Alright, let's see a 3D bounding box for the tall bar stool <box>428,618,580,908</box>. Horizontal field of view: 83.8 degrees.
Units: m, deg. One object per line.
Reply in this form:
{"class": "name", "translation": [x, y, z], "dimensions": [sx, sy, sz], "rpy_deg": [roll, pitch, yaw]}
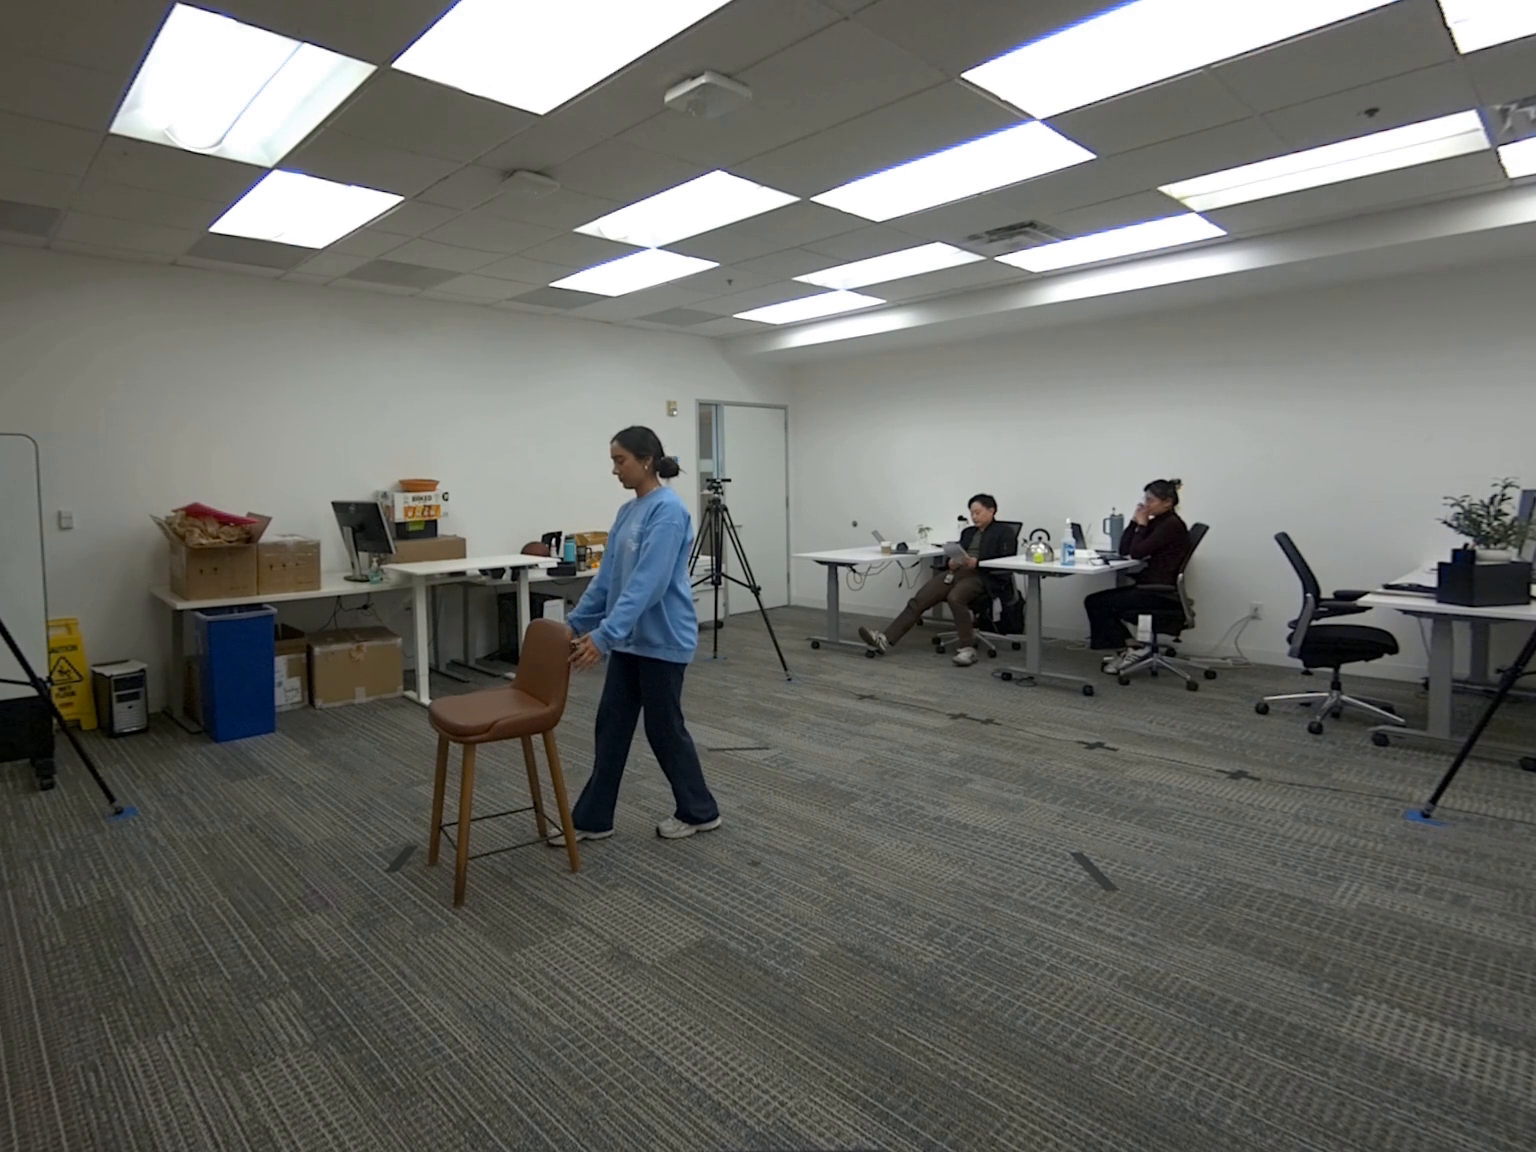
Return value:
{"class": "tall bar stool", "translation": [-0.957, 0.624, 3.080], "dimensions": [0.456, 0.888, 0.469], "rpy_deg": [-1, 3, -32]}
